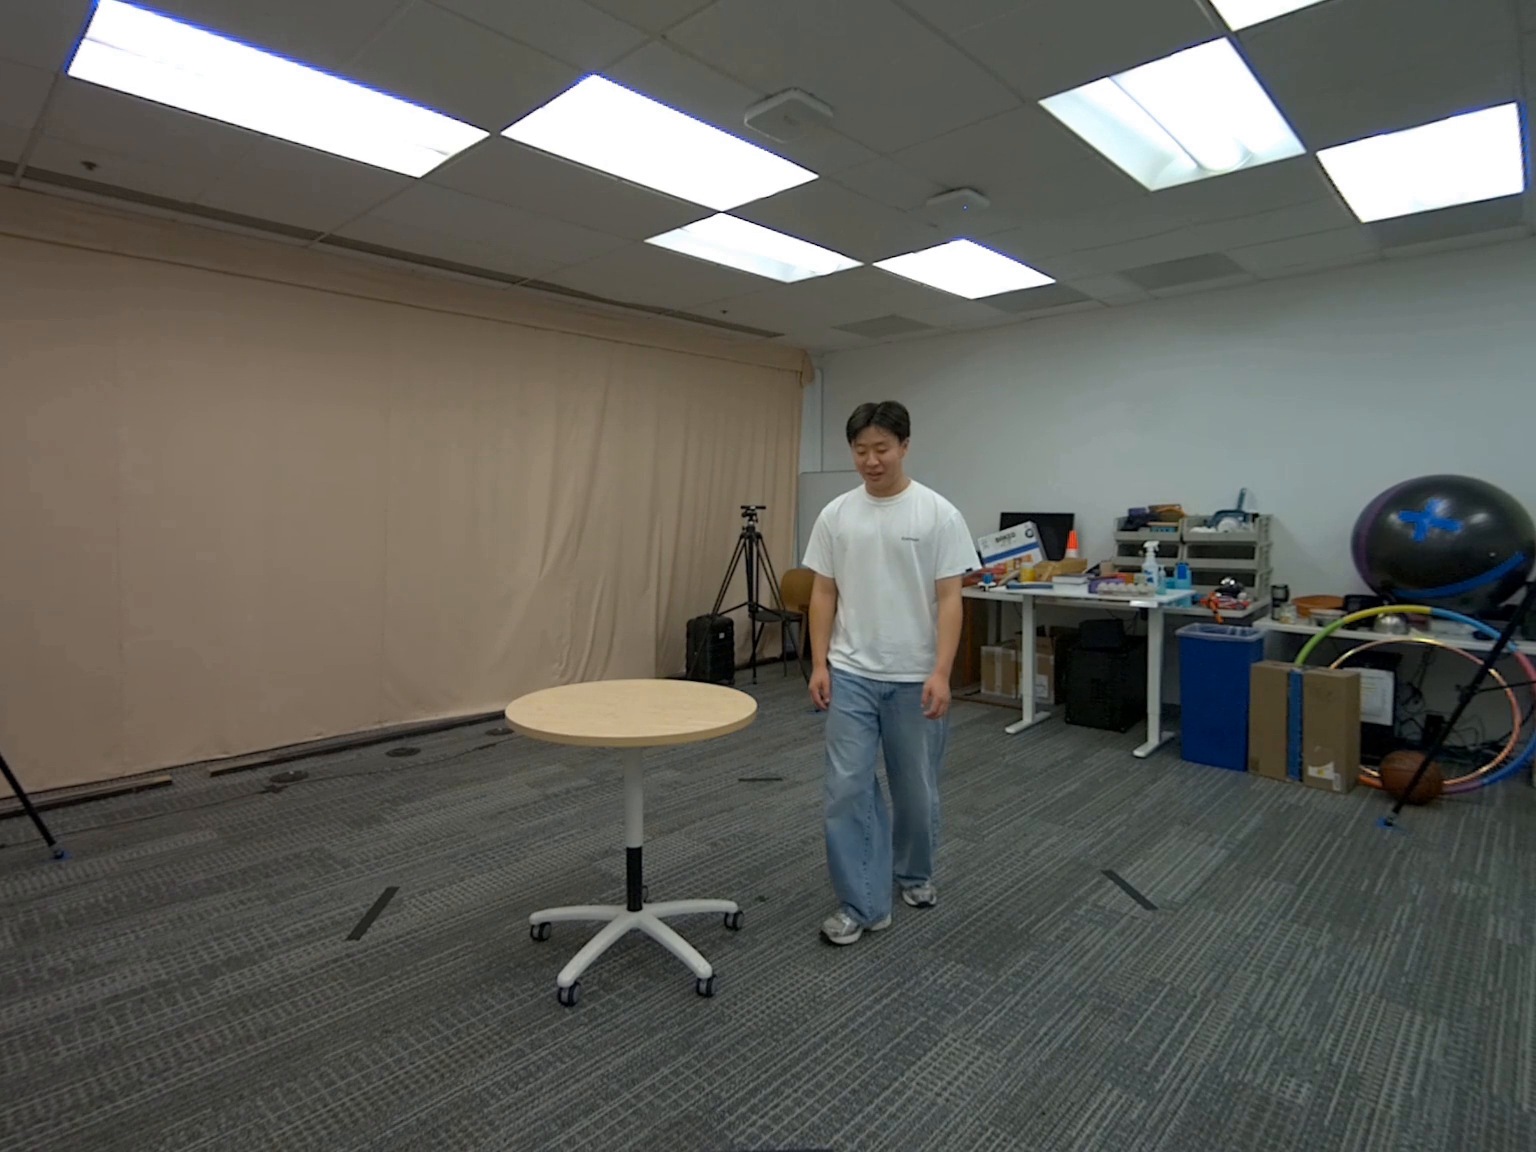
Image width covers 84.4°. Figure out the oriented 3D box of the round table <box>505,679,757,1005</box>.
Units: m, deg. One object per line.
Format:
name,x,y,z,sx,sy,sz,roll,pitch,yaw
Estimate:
round table,-0.407,0.790,2.610,0.763,0.792,0.767,0,4,-2
